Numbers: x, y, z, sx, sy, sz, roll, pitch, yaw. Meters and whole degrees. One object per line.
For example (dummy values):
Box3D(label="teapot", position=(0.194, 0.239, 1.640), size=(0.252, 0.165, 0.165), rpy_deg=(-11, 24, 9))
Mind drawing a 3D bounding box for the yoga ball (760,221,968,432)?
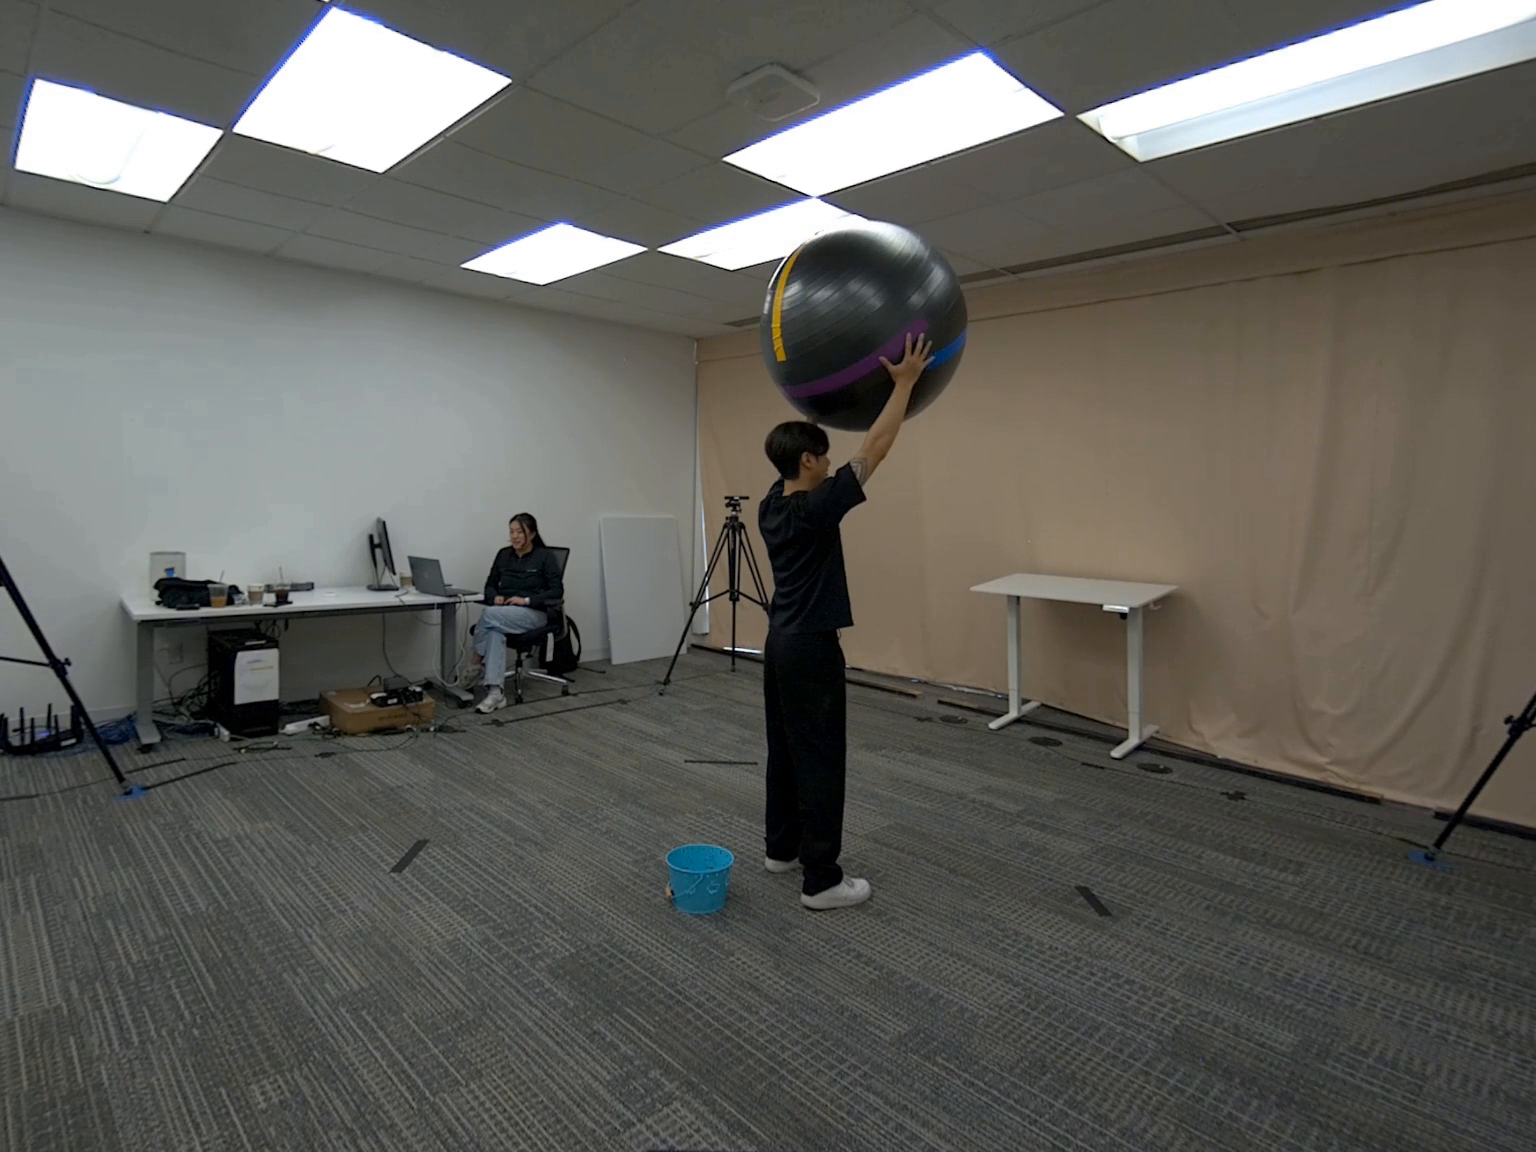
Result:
Box3D(label="yoga ball", position=(0.353, -0.921, 3.136), size=(0.757, 0.756, 0.761), rpy_deg=(1, 4, -1))
